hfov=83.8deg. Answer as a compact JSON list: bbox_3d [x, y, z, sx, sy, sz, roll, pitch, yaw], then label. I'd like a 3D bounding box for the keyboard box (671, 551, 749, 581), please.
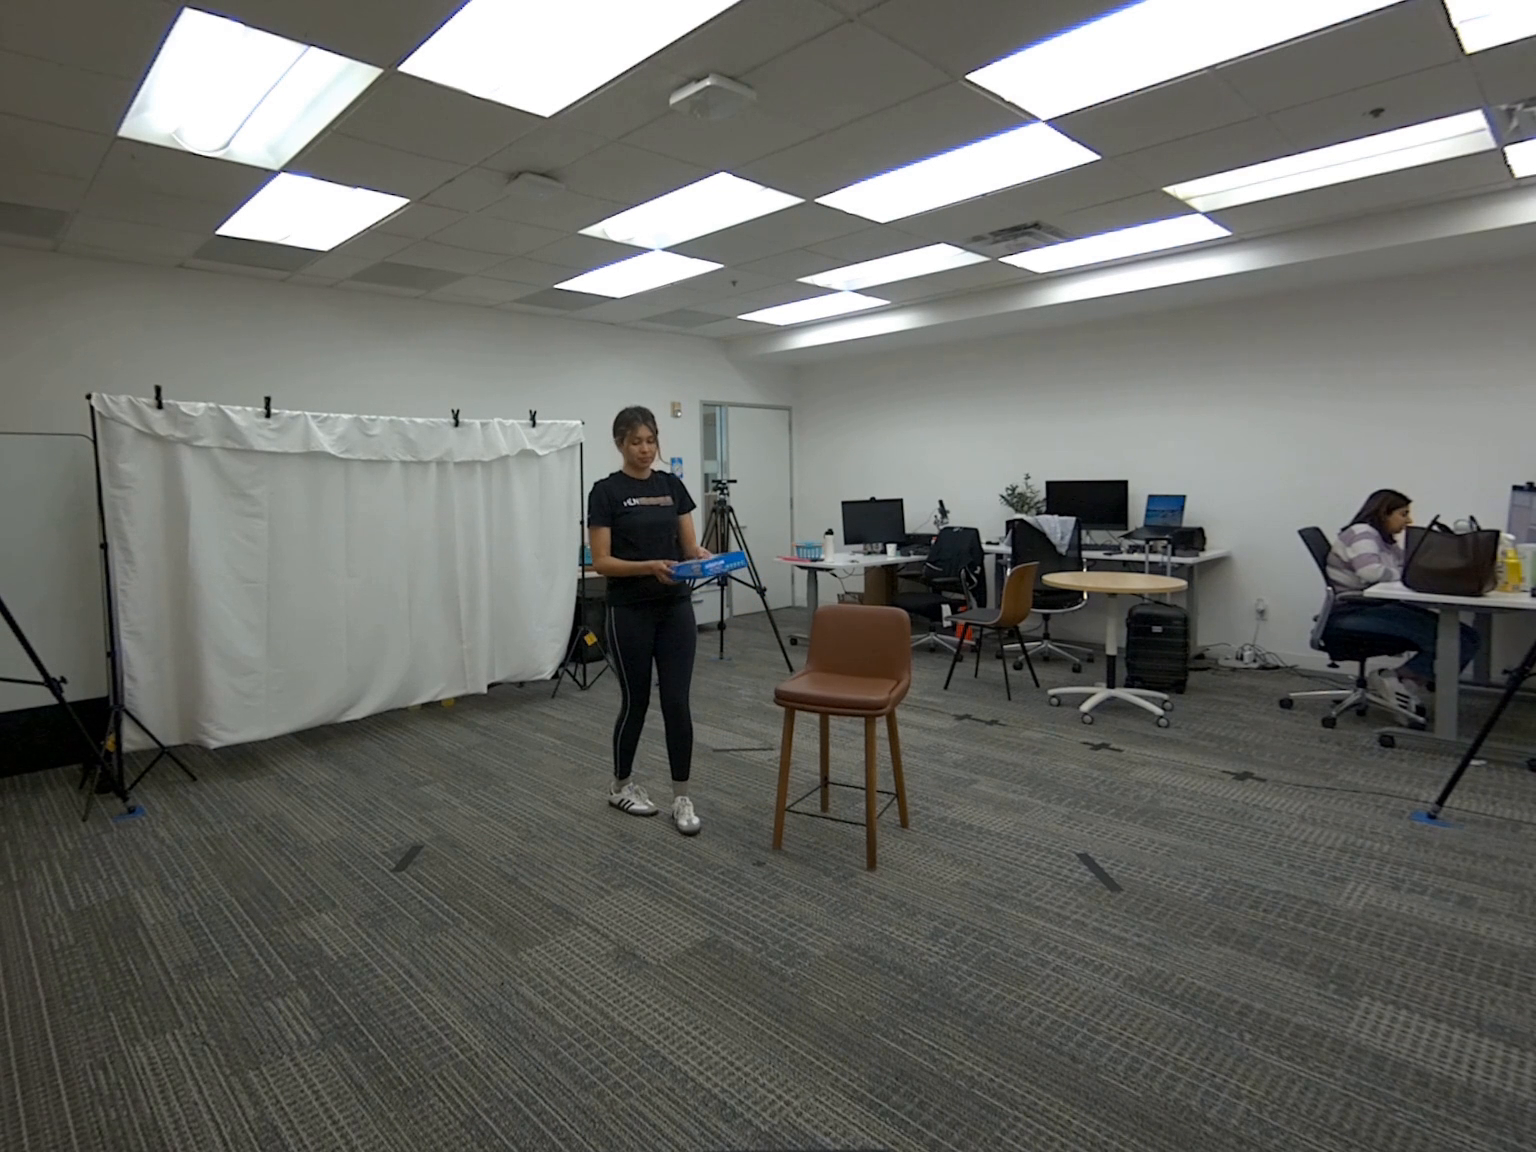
[{"bbox_3d":[-0.243,-0.030,3.158,0.173,0.059,0.445,-16,5,-25],"label":"keyboard box"}]
